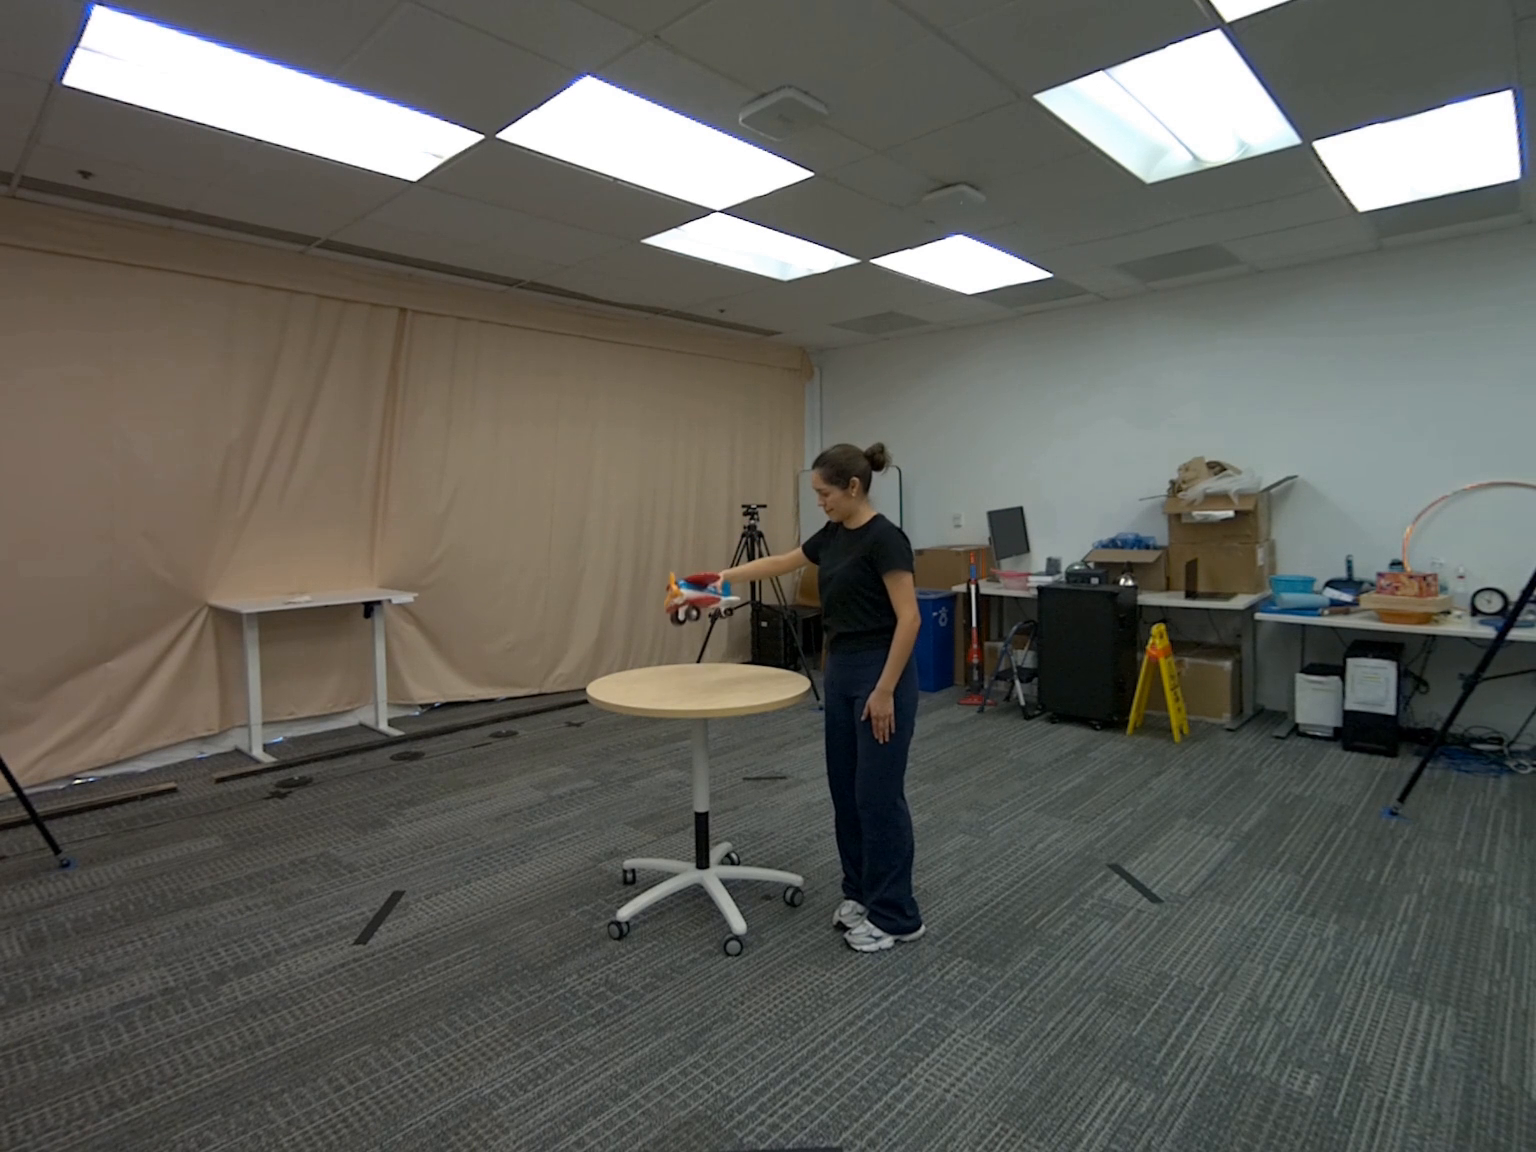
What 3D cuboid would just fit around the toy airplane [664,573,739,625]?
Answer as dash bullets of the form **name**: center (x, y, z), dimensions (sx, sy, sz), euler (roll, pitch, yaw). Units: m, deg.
- **toy airplane**: center (-0.212, 0.074, 2.920), dimensions (0.256, 0.157, 0.252), euler (-16, -7, 23)
